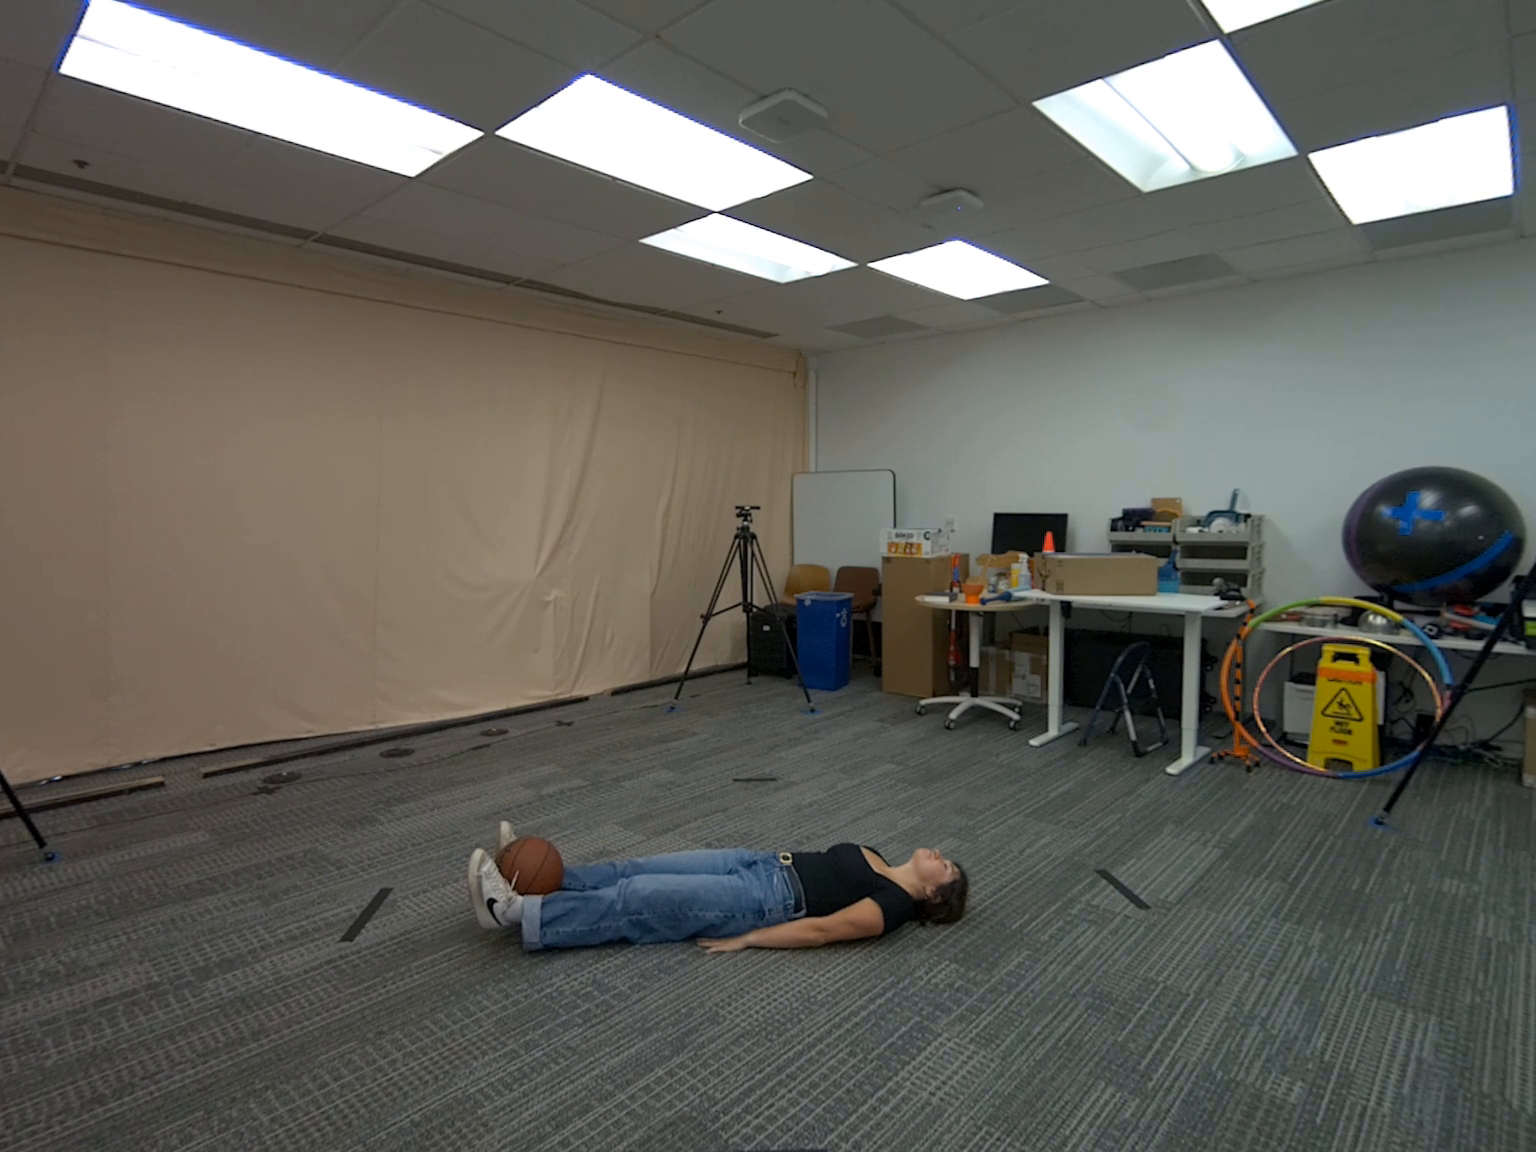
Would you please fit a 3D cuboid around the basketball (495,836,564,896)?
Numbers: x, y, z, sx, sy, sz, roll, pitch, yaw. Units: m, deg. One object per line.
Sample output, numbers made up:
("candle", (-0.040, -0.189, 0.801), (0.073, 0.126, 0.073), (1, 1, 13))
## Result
("basketball", (-0.795, 0.986, 2.786), (0.236, 0.235, 0.237), (0, 4, -2))
